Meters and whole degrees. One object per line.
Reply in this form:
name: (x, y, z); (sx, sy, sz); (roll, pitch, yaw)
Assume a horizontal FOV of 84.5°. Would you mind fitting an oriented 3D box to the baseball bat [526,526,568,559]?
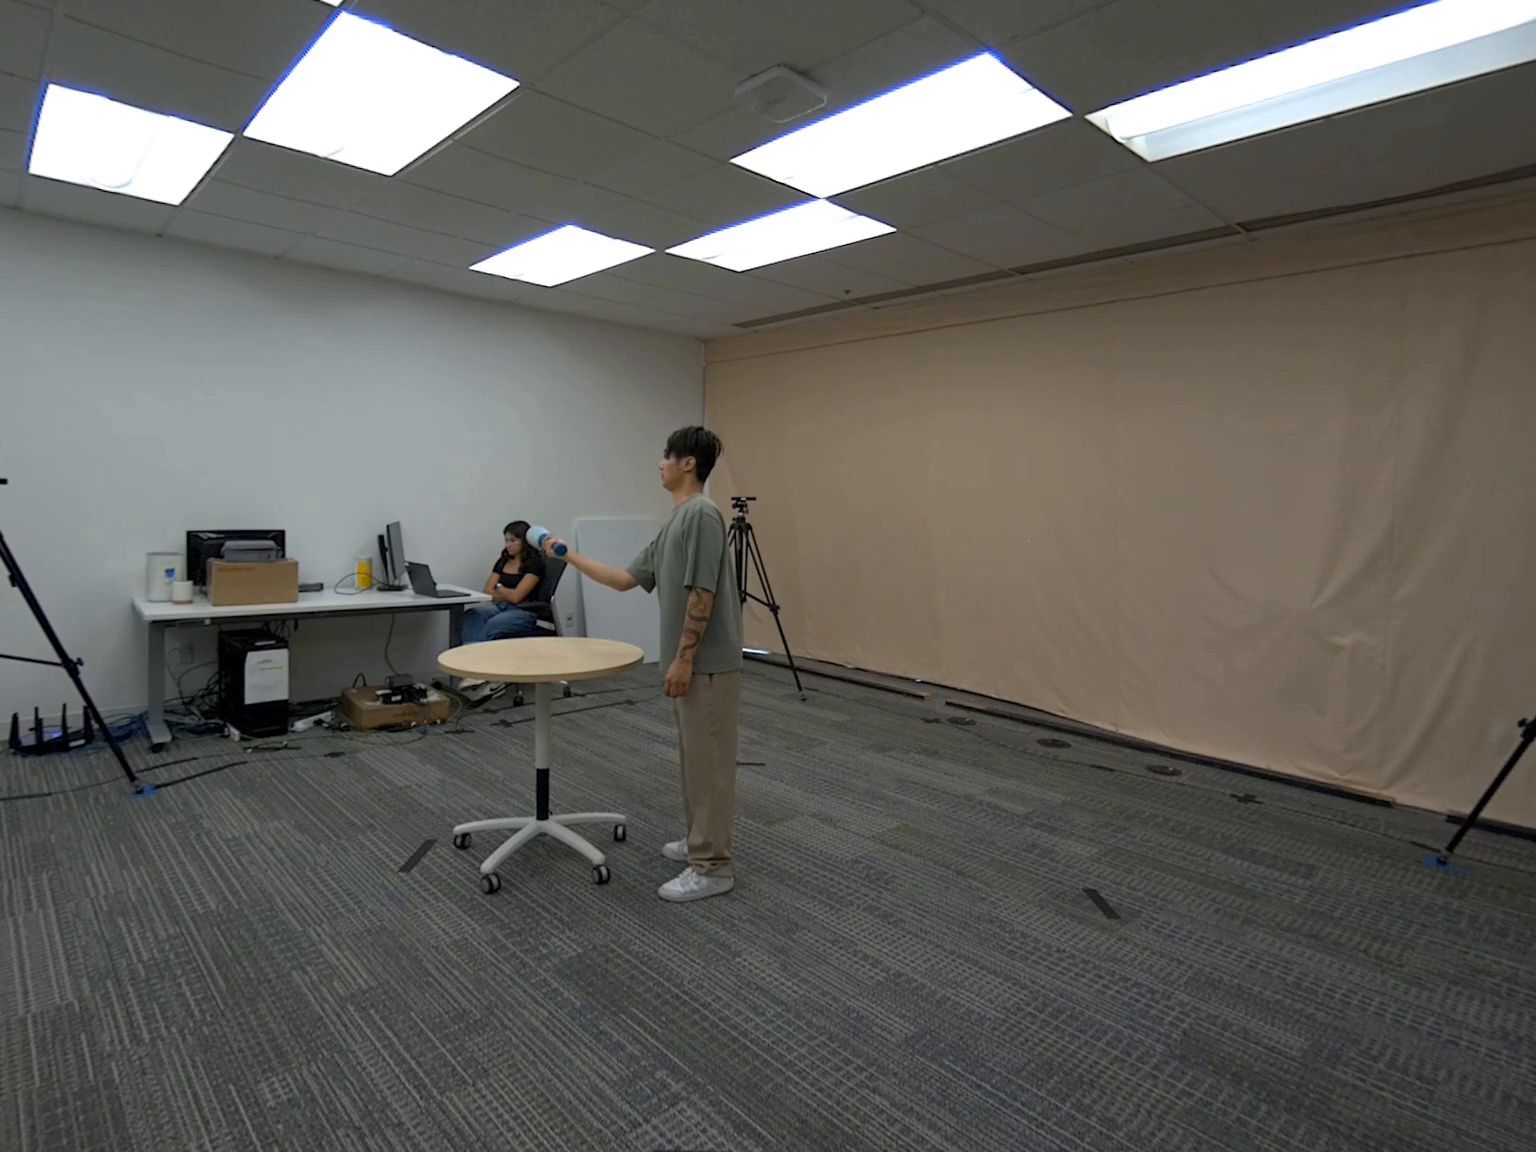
baseball bat: (-0.881, -0.123, 3.341); (0.087, 0.088, 0.554); (0, 8, -22)
